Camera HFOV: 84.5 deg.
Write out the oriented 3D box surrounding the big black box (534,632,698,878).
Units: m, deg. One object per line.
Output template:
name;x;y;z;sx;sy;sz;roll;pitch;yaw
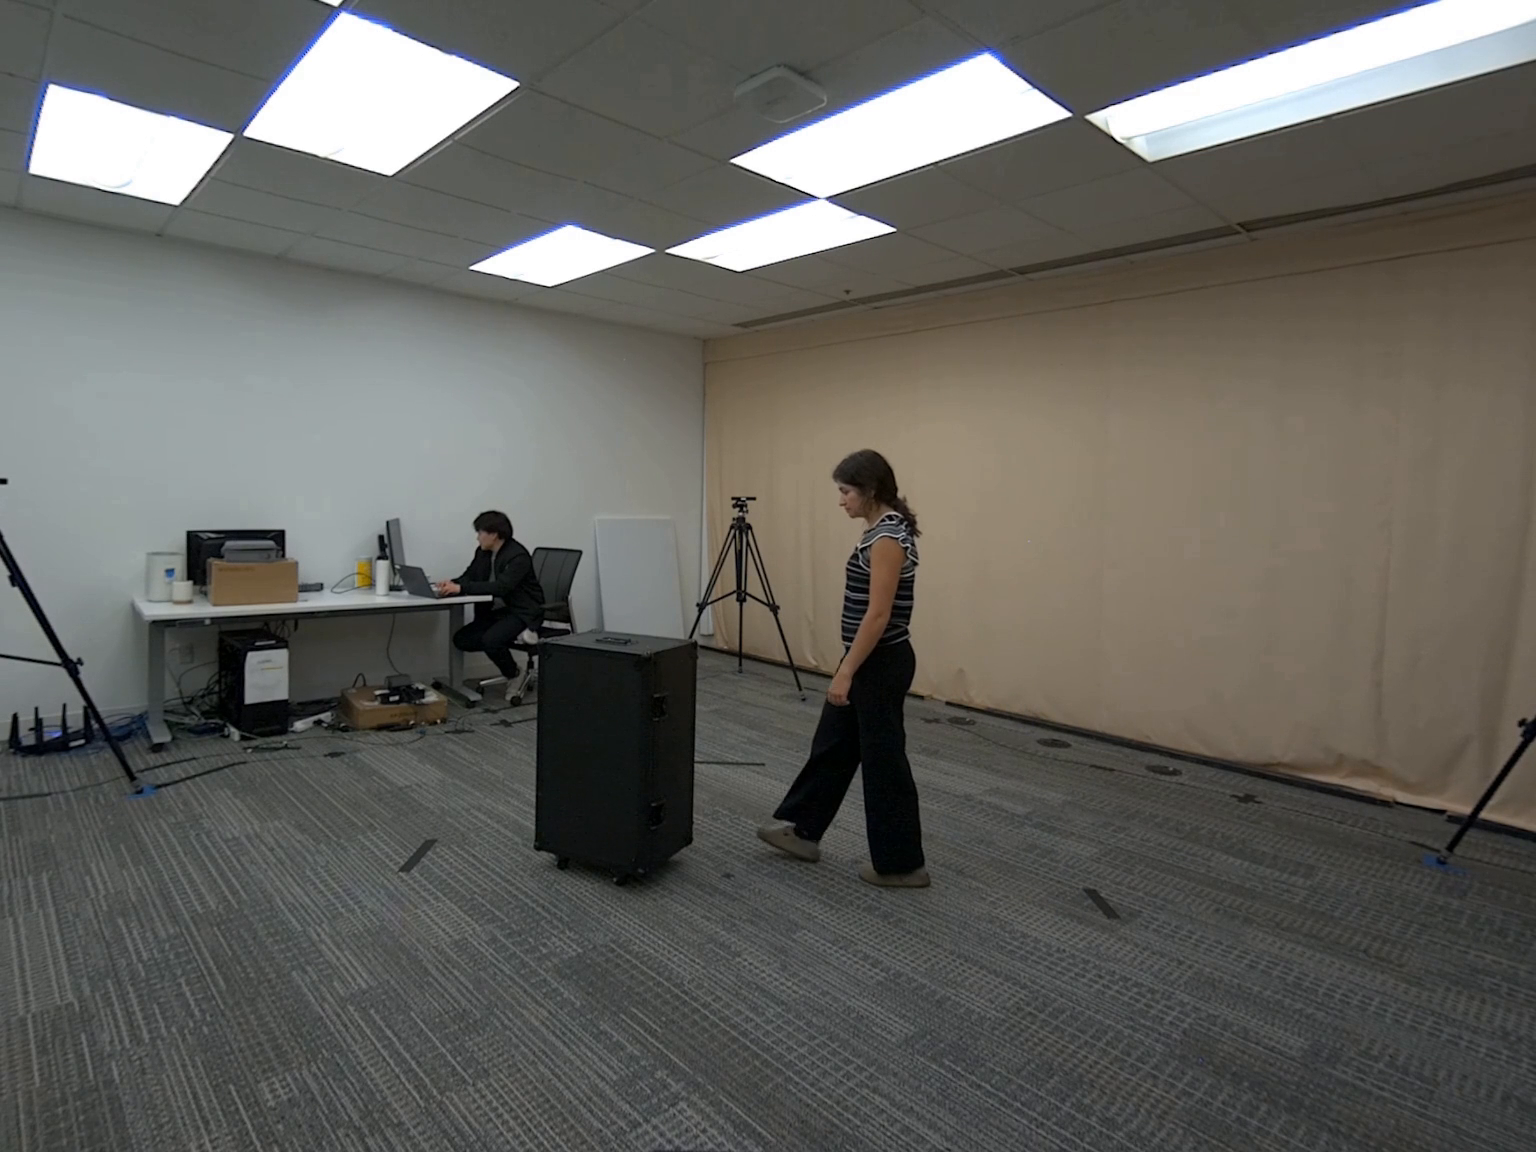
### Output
big black box;-0.573;0.663;3.169;0.531;0.860;0.389;3;2;25
